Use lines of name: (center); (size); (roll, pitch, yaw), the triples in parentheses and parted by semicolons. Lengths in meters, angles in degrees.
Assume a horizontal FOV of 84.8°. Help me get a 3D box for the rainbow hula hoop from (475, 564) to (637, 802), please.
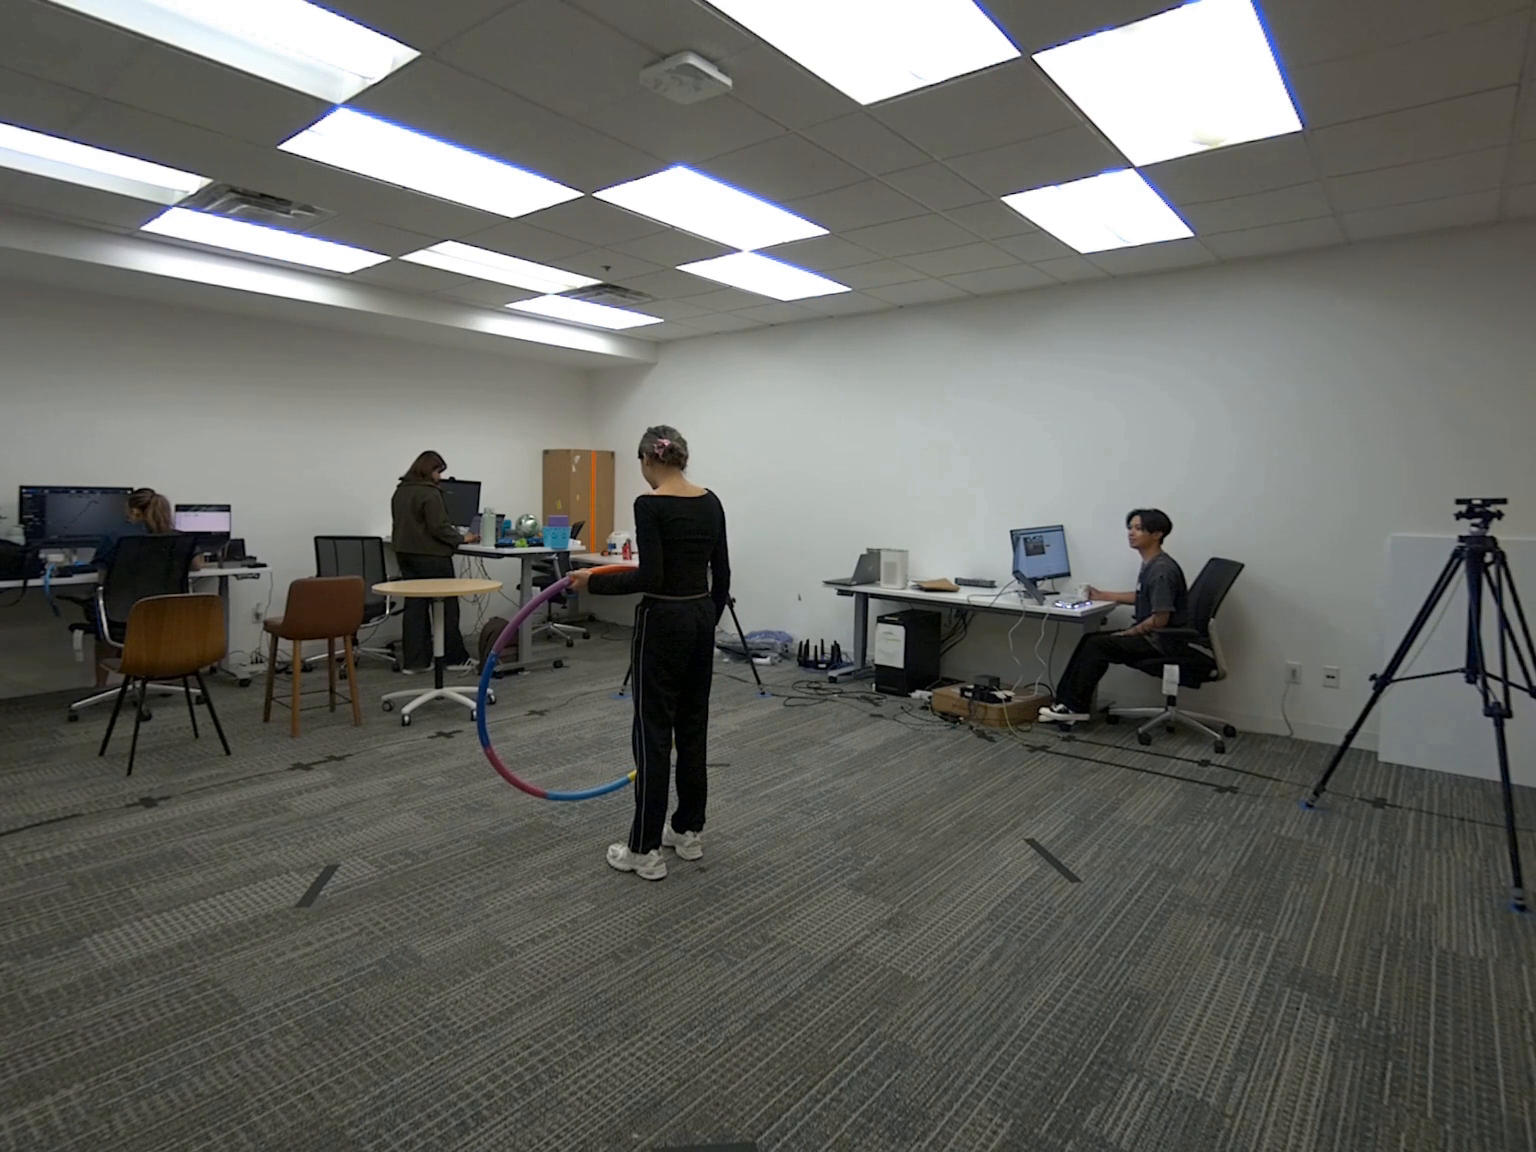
rainbow hula hoop: (-0.669, 0.423, 3.299); (0.951, 0.967, 0.037); (-2, 19, -34)
